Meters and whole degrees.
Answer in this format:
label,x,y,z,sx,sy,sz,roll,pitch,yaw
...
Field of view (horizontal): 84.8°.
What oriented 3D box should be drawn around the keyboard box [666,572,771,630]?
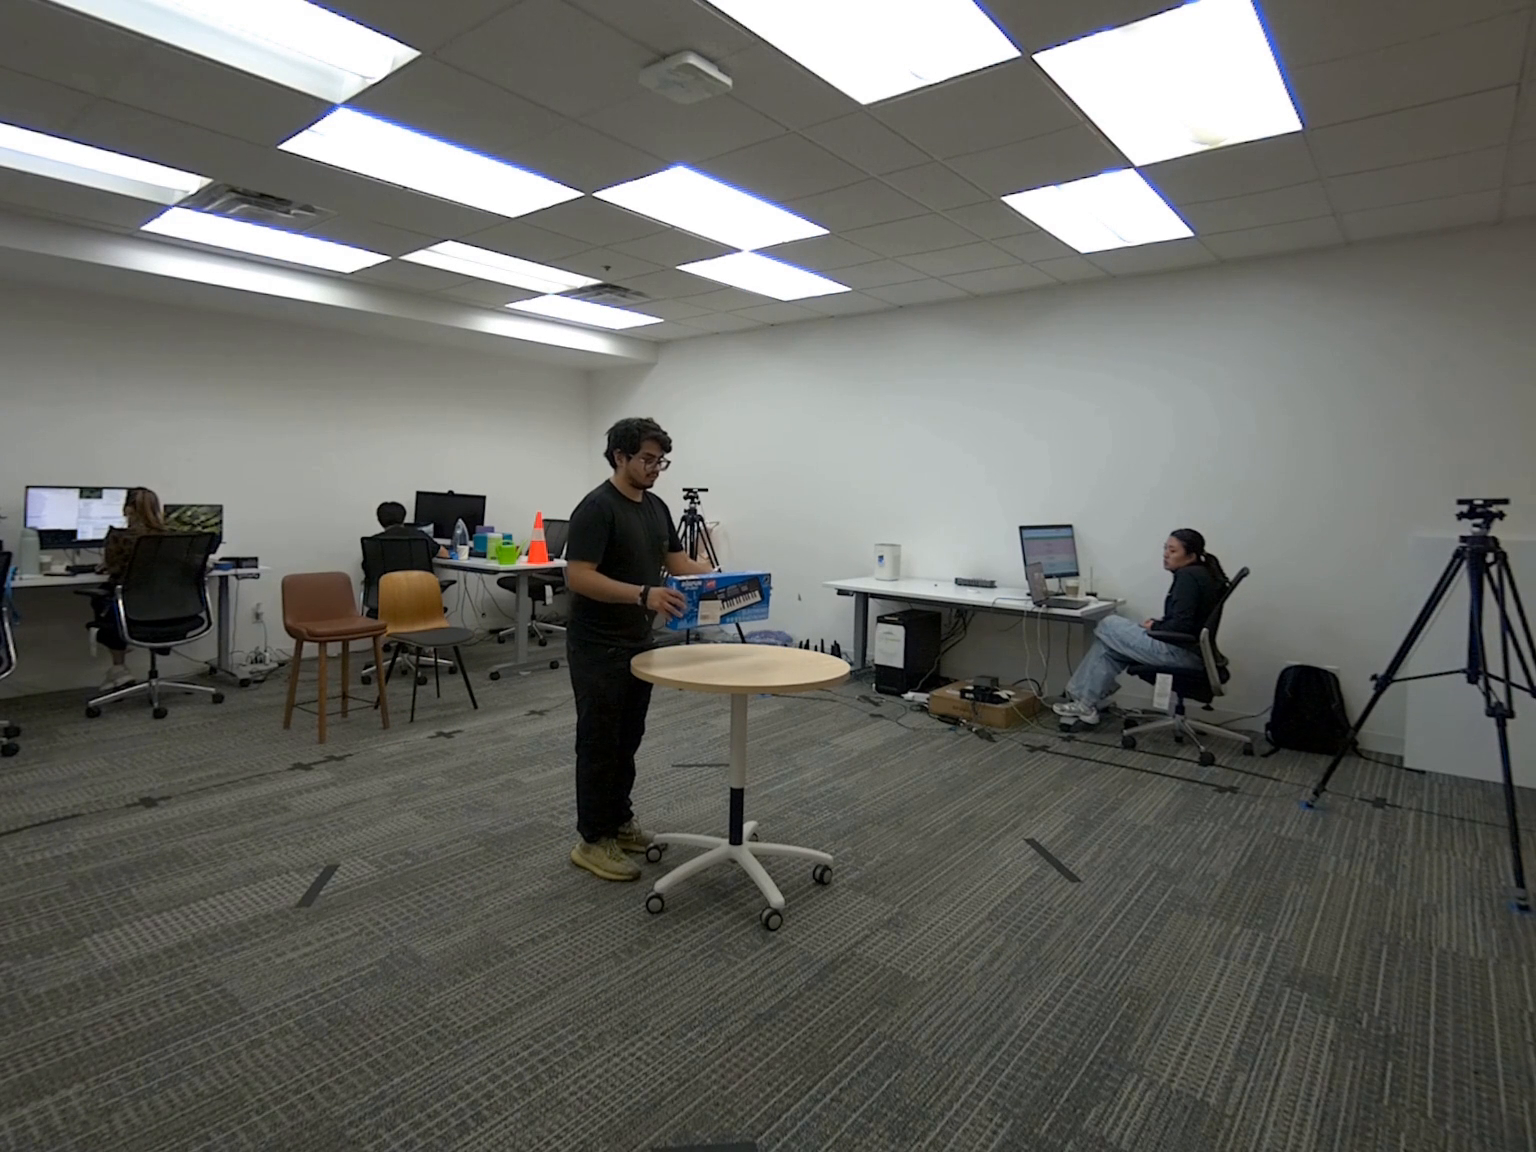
label,x,y,z,sx,sy,sz,roll,pitch,yaw
keyboard box,-0.179,0.086,2.959,0.424,0.175,0.061,-3,6,-41
